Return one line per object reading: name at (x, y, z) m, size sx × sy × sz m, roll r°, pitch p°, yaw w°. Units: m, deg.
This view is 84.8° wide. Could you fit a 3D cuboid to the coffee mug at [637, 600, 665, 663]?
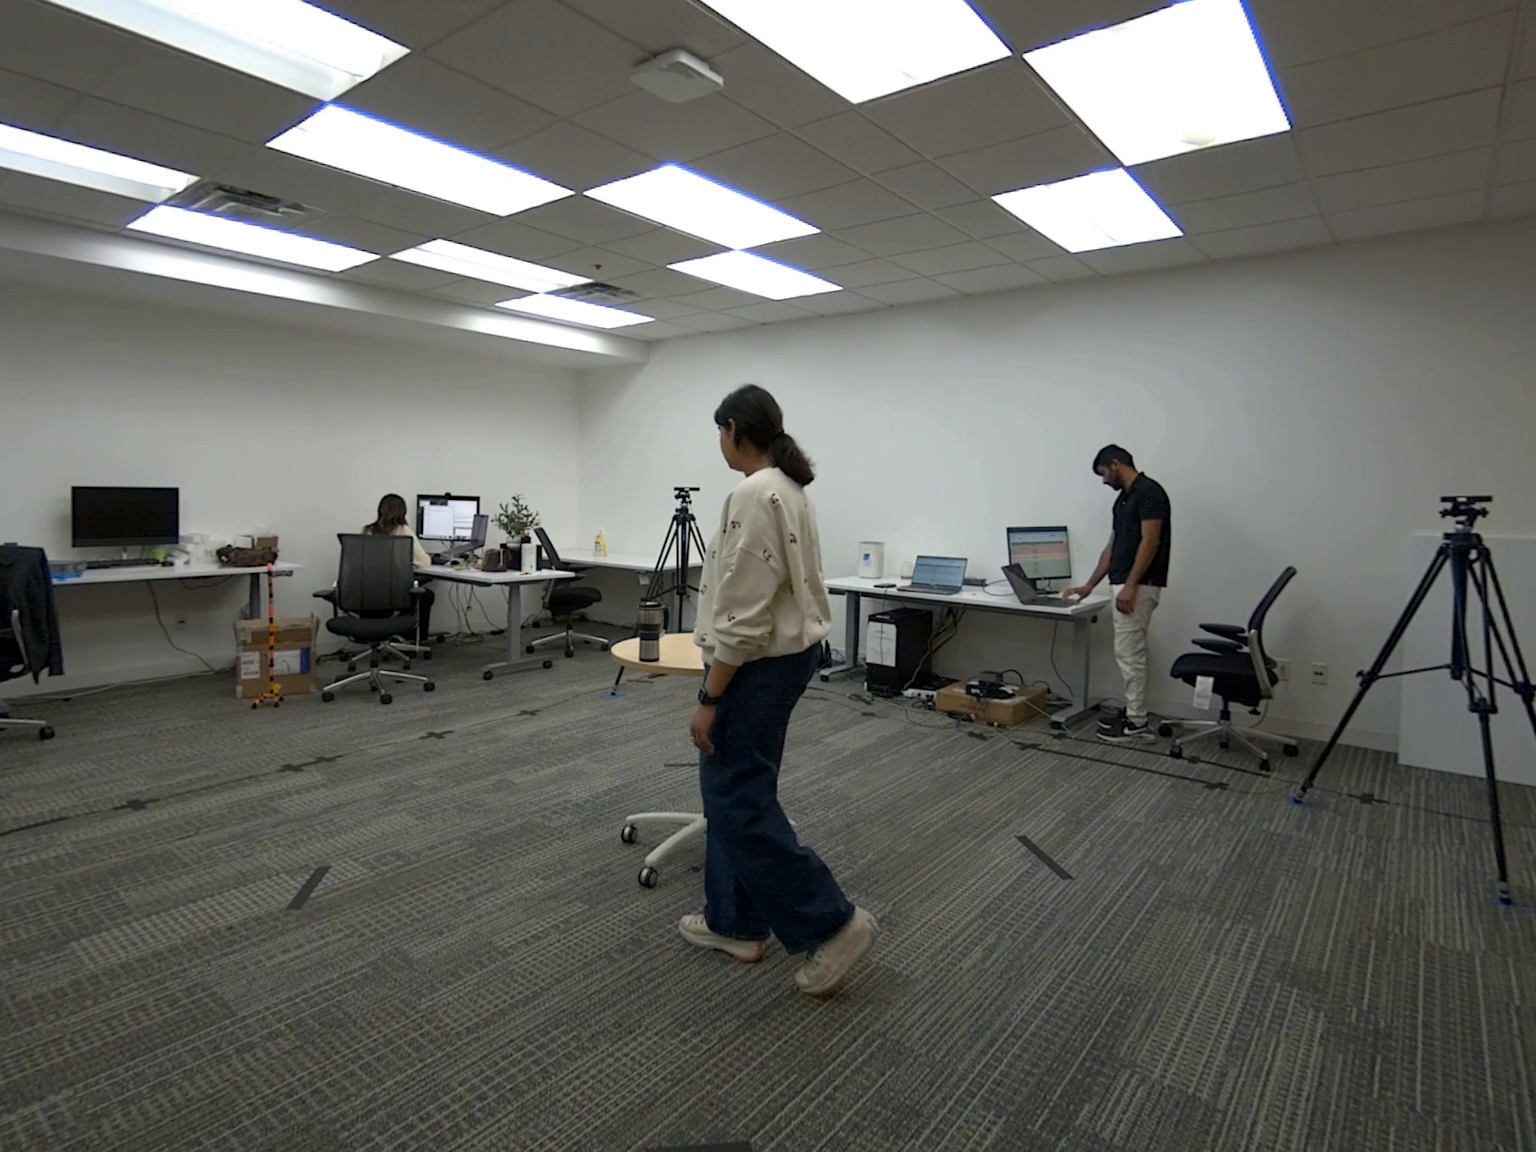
coffee mug at (-0.402, 0.190, 2.973) m, size 0.119 × 0.202 × 0.090 m, roll -5°, pitch 3°, yaw -30°
